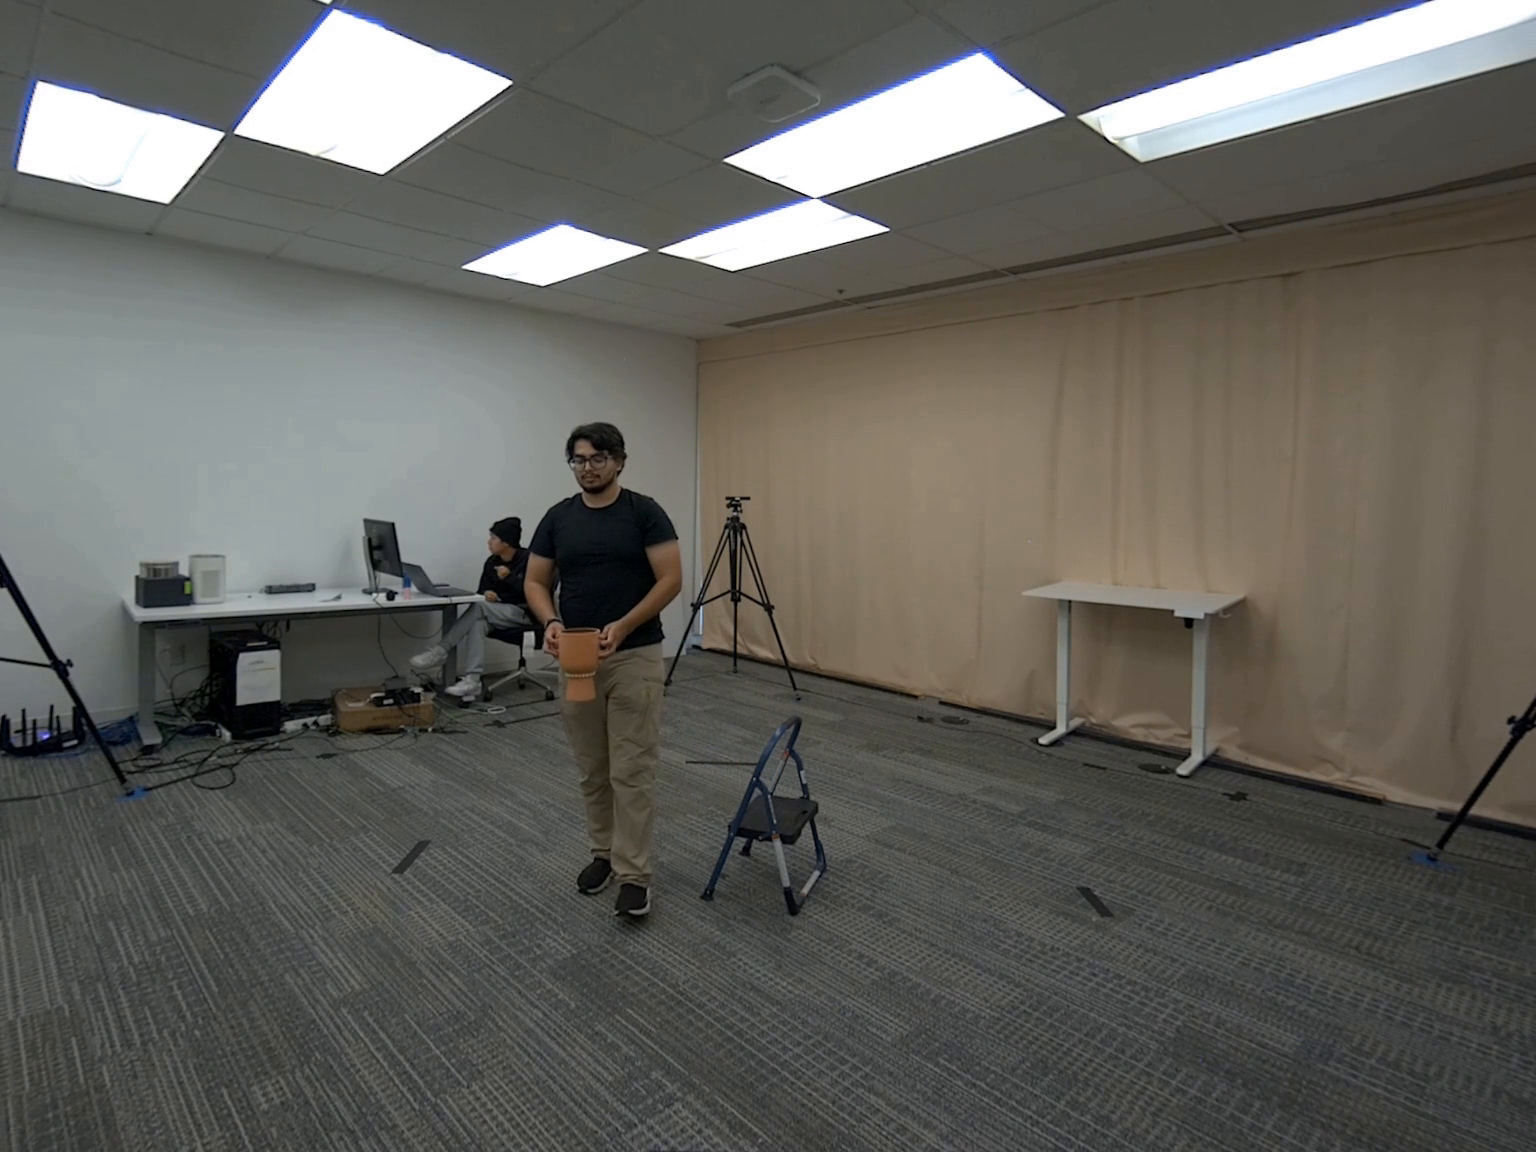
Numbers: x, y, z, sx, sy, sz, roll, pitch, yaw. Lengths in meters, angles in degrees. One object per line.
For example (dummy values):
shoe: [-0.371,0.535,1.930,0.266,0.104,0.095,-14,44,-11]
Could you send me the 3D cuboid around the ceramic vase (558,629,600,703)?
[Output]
ceramic vase: [-0.617,0.291,2.718,0.163,0.219,0.131,3,5,42]
